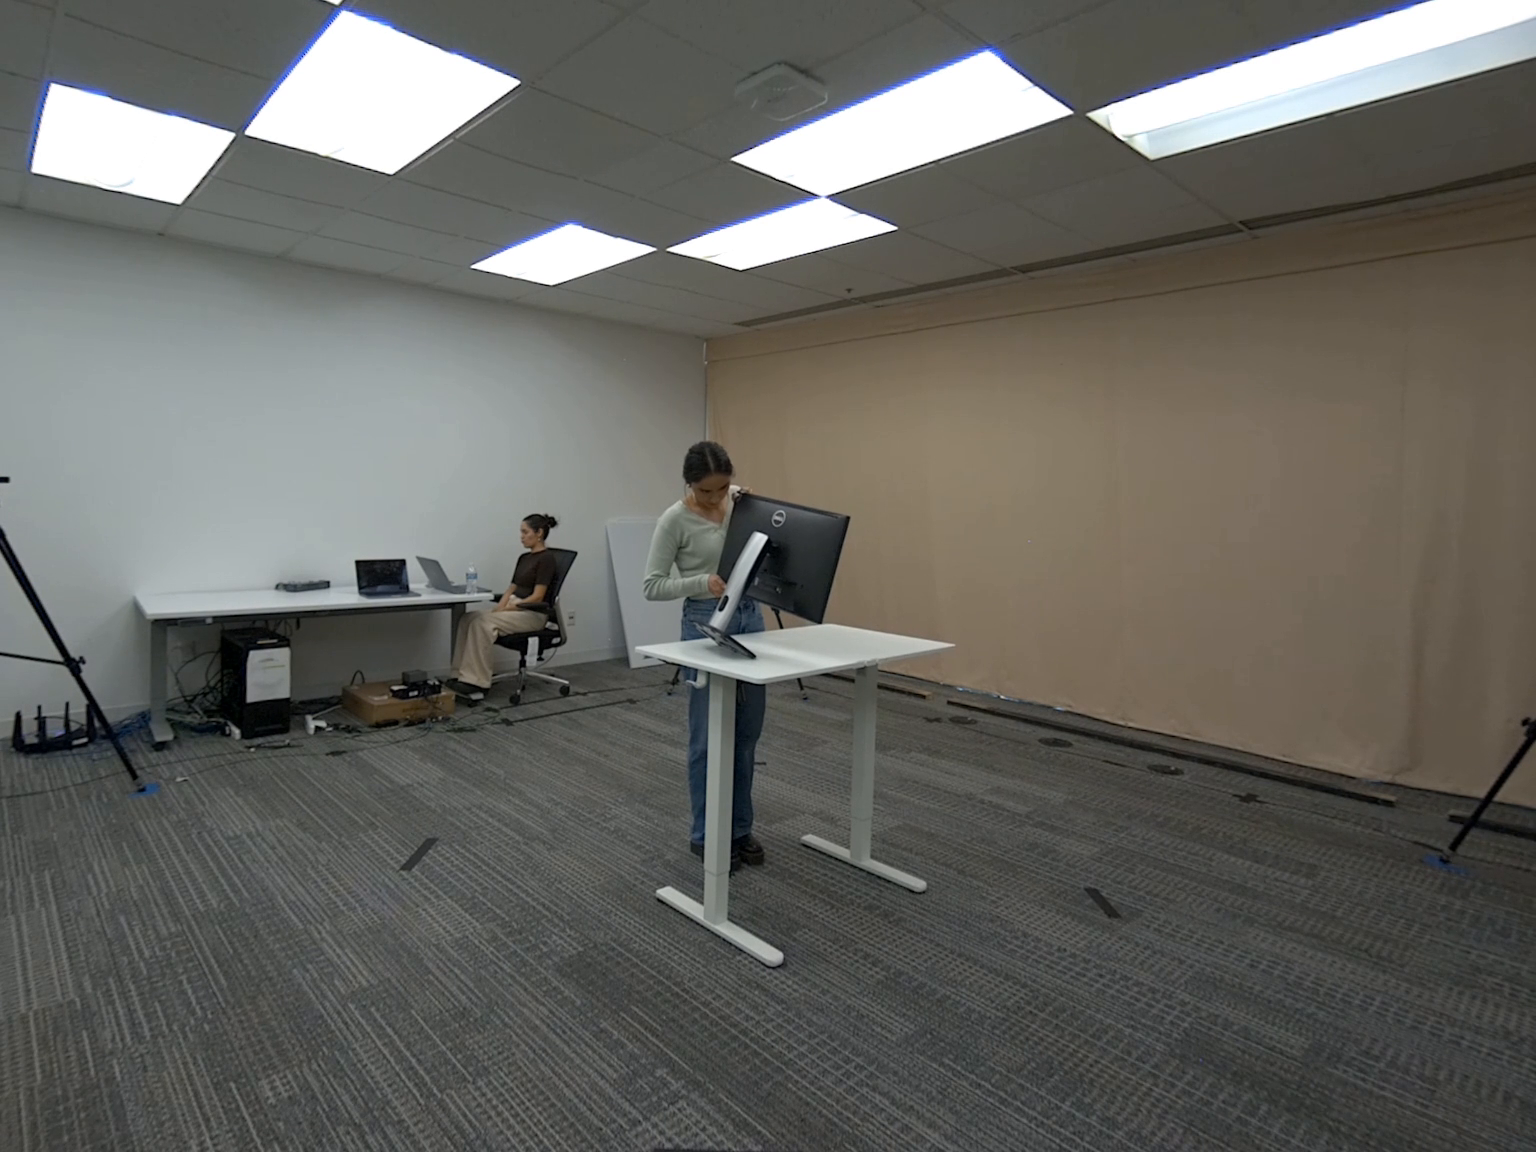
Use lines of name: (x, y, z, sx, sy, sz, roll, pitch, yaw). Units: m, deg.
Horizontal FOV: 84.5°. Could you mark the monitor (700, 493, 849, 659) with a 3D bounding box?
monitor: (-0.039, -0.005, 2.787, 0.555, 0.524, 0.181, 18, -11, 45)
